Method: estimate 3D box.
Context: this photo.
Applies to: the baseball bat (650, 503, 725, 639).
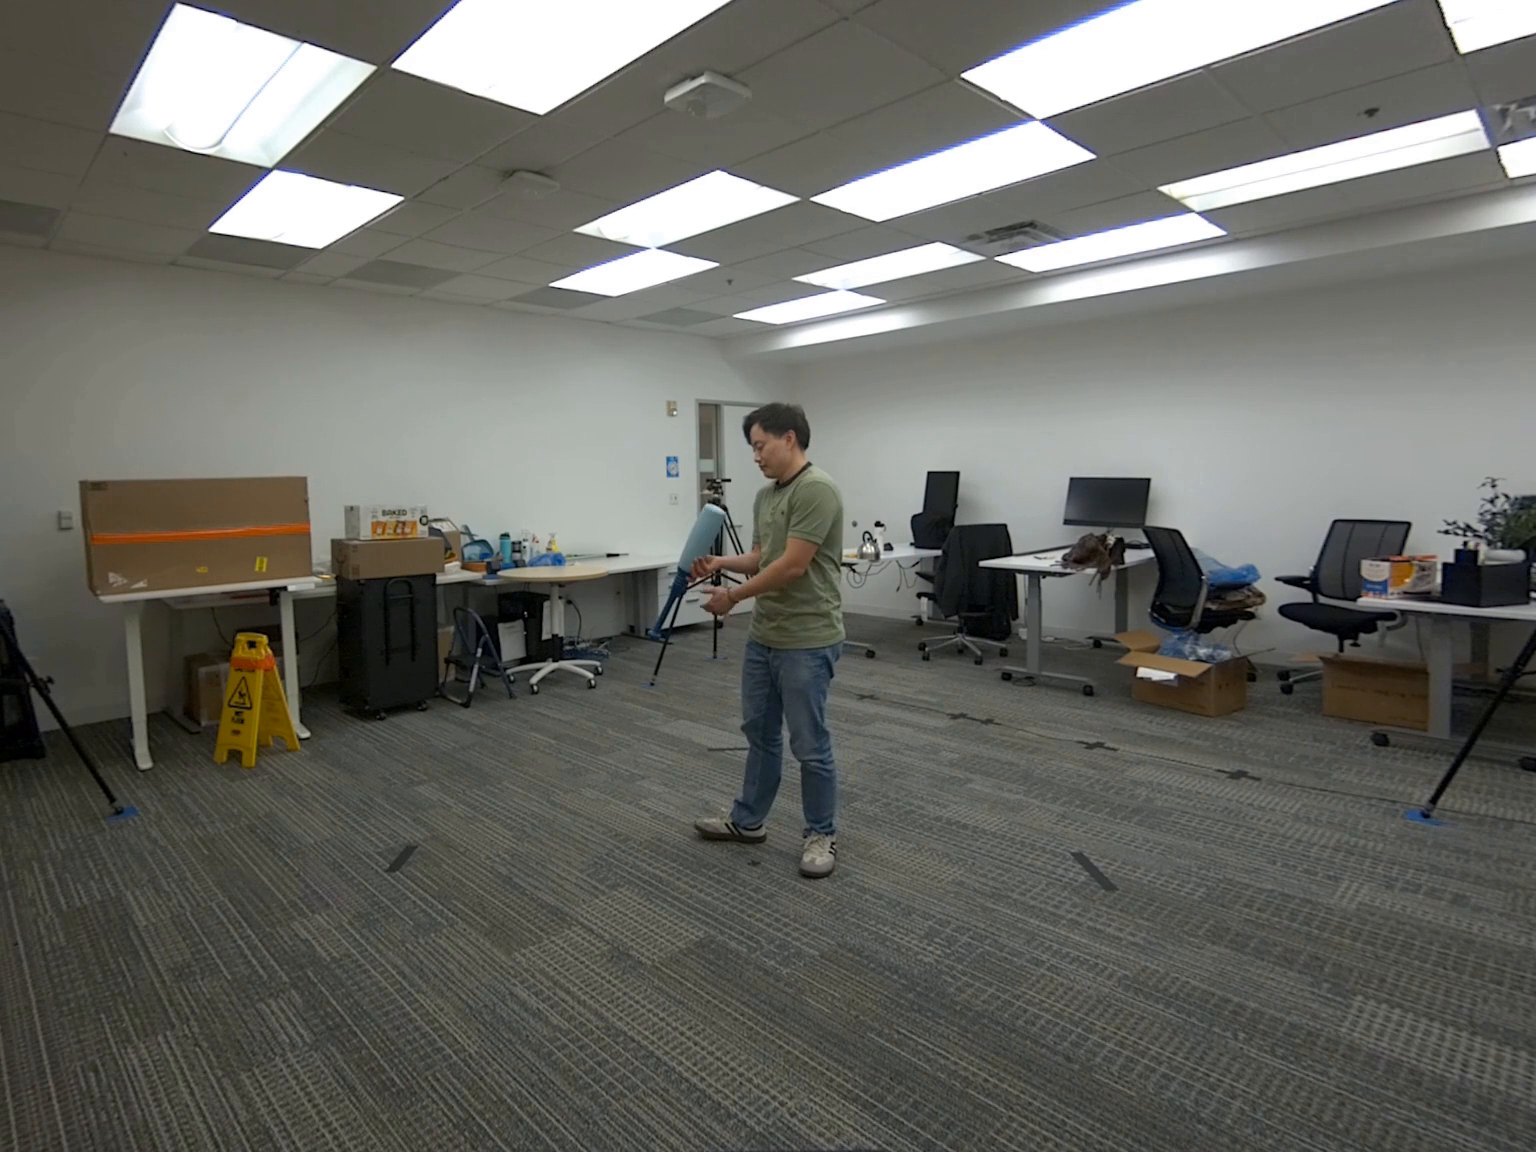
[{"bbox_3d":[-0.307,-0.007,3.077,0.088,0.540,0.090,26,14,-9],"label":"baseball bat"}]
